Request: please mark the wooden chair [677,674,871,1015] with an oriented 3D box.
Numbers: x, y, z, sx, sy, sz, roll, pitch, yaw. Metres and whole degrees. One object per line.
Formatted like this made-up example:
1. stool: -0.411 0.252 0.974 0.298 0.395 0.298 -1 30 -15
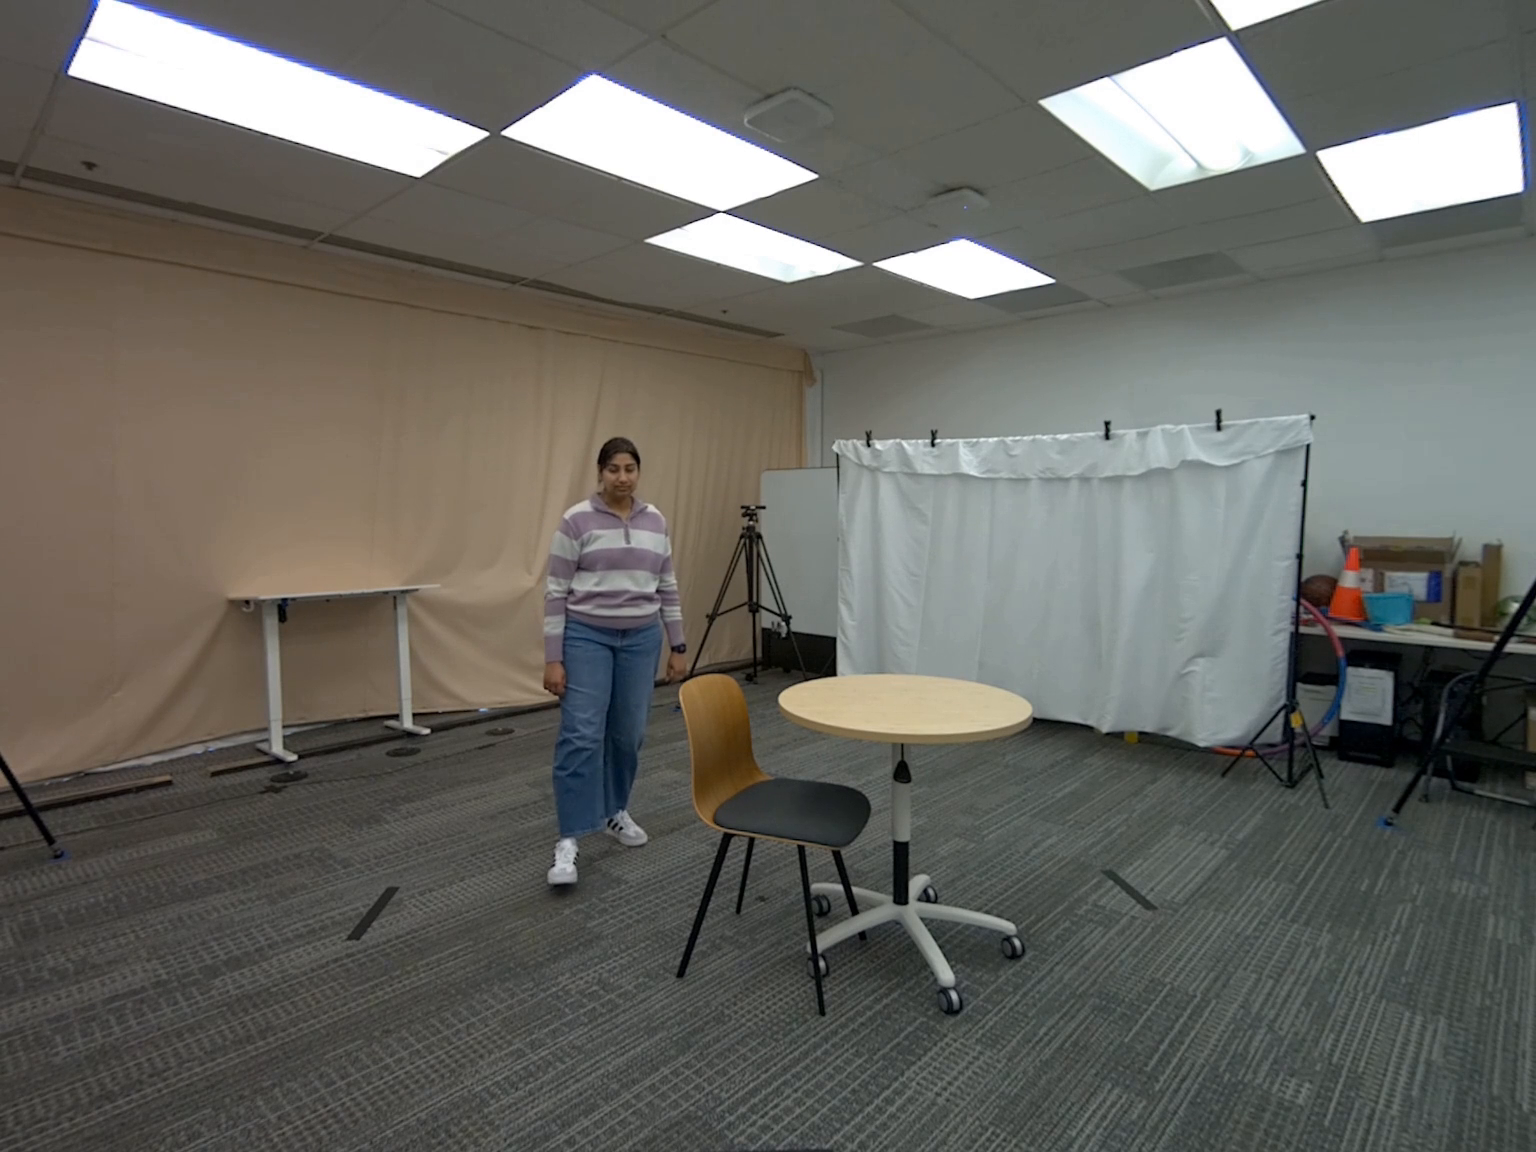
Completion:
1. wooden chair: 0.033 0.755 2.561 0.536 0.876 0.467 -3 1 24
